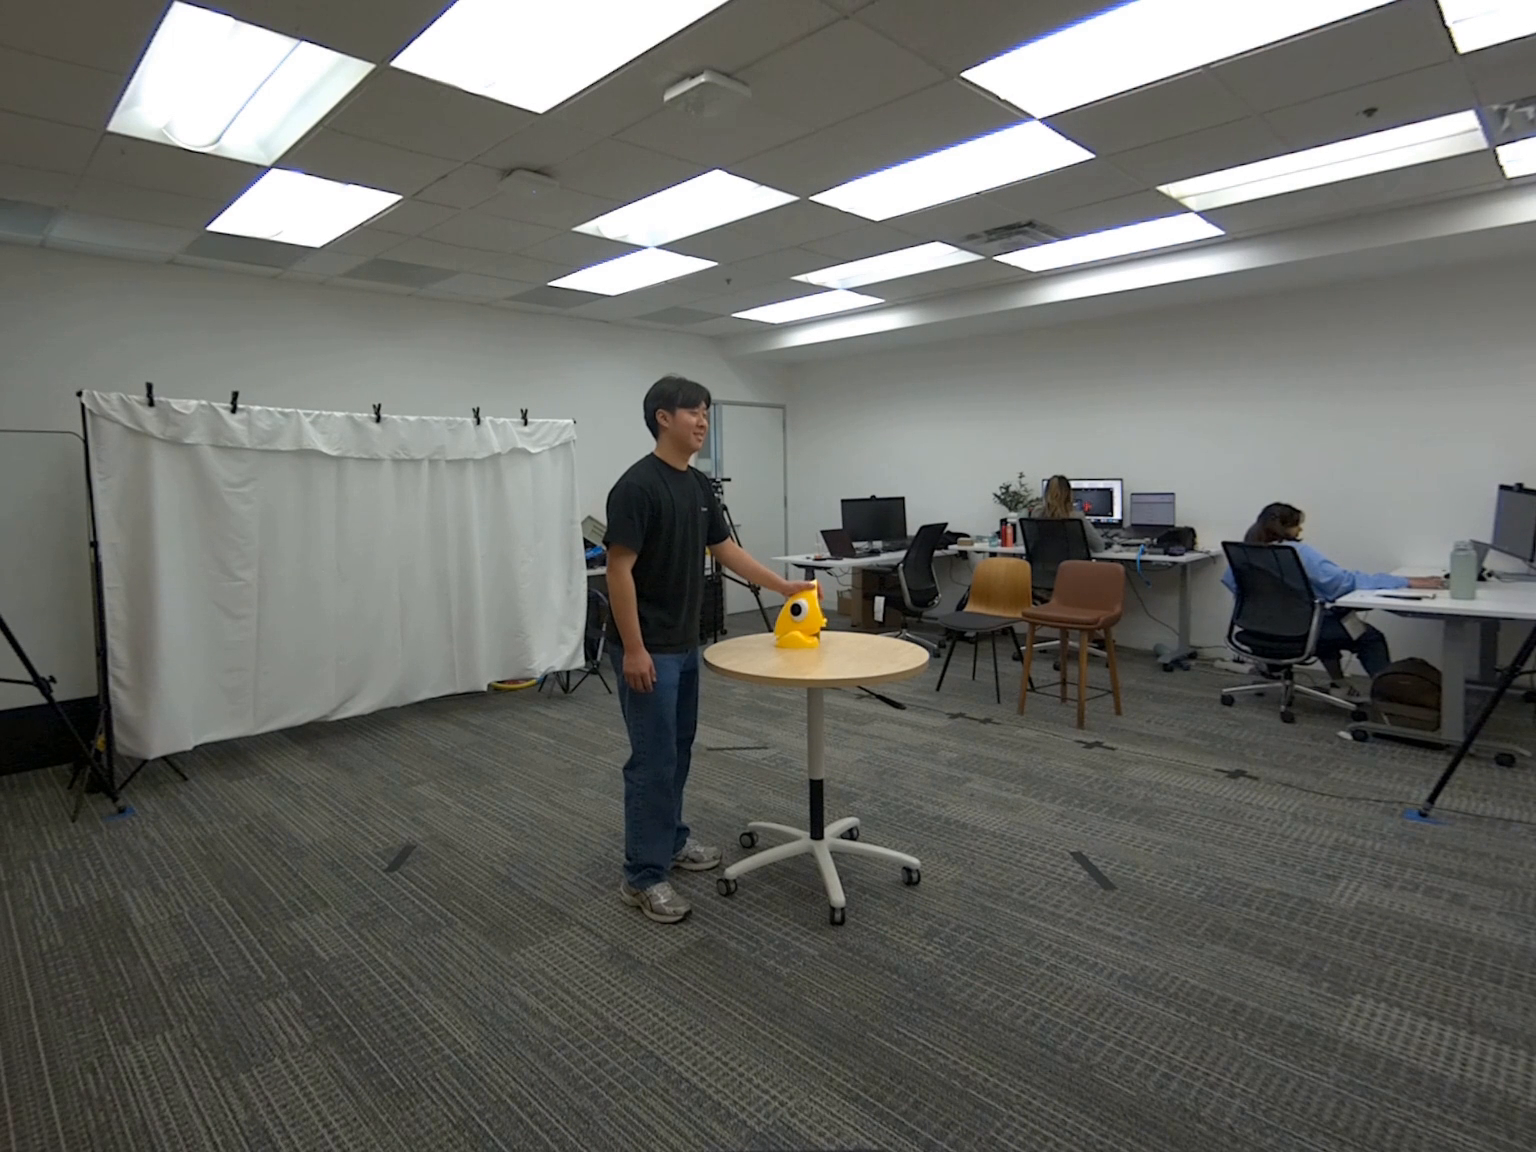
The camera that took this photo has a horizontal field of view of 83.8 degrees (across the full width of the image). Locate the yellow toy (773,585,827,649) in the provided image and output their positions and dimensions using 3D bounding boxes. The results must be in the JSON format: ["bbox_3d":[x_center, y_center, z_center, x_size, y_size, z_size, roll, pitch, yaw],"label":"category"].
[{"bbox_3d":[0.113,0.130,3.084,0.194,0.230,0.204,0,5,4],"label":"yellow toy"}]
